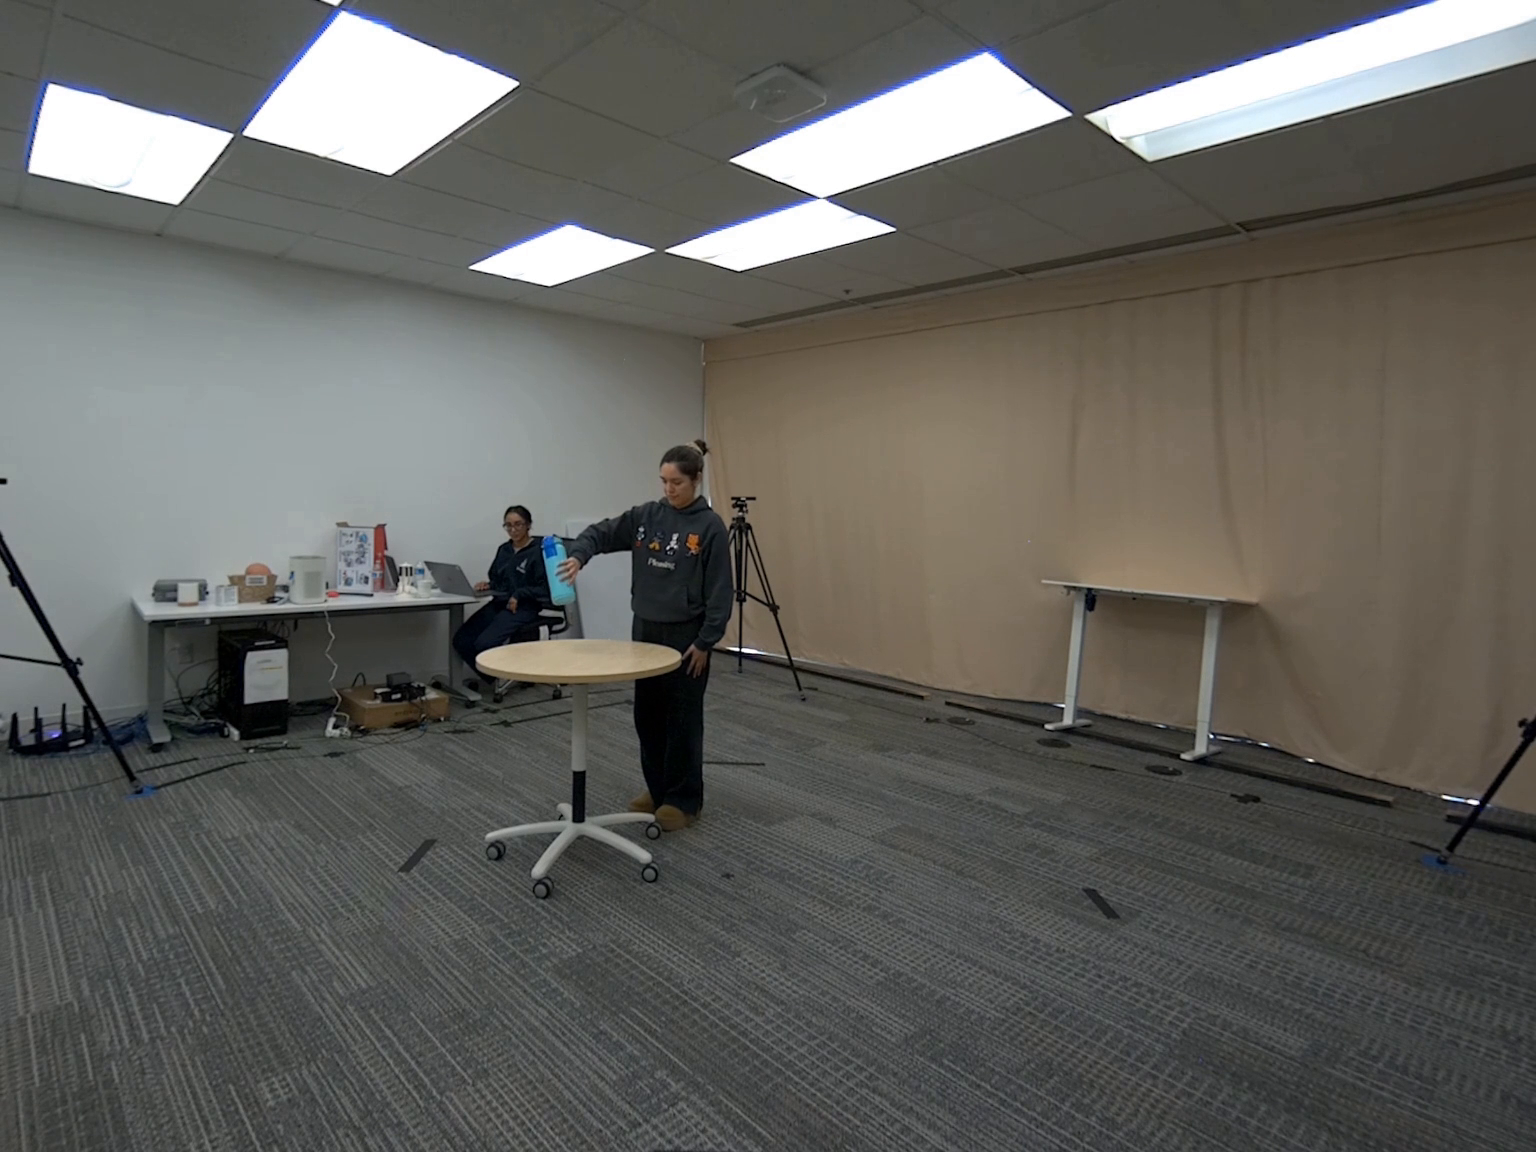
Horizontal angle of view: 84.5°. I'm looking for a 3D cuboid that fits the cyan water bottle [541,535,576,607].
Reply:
[{"bbox_3d":[-0.840,-0.032,3.306,0.092,0.287,0.091,-12,-15,-4],"label":"cyan water bottle"}]
